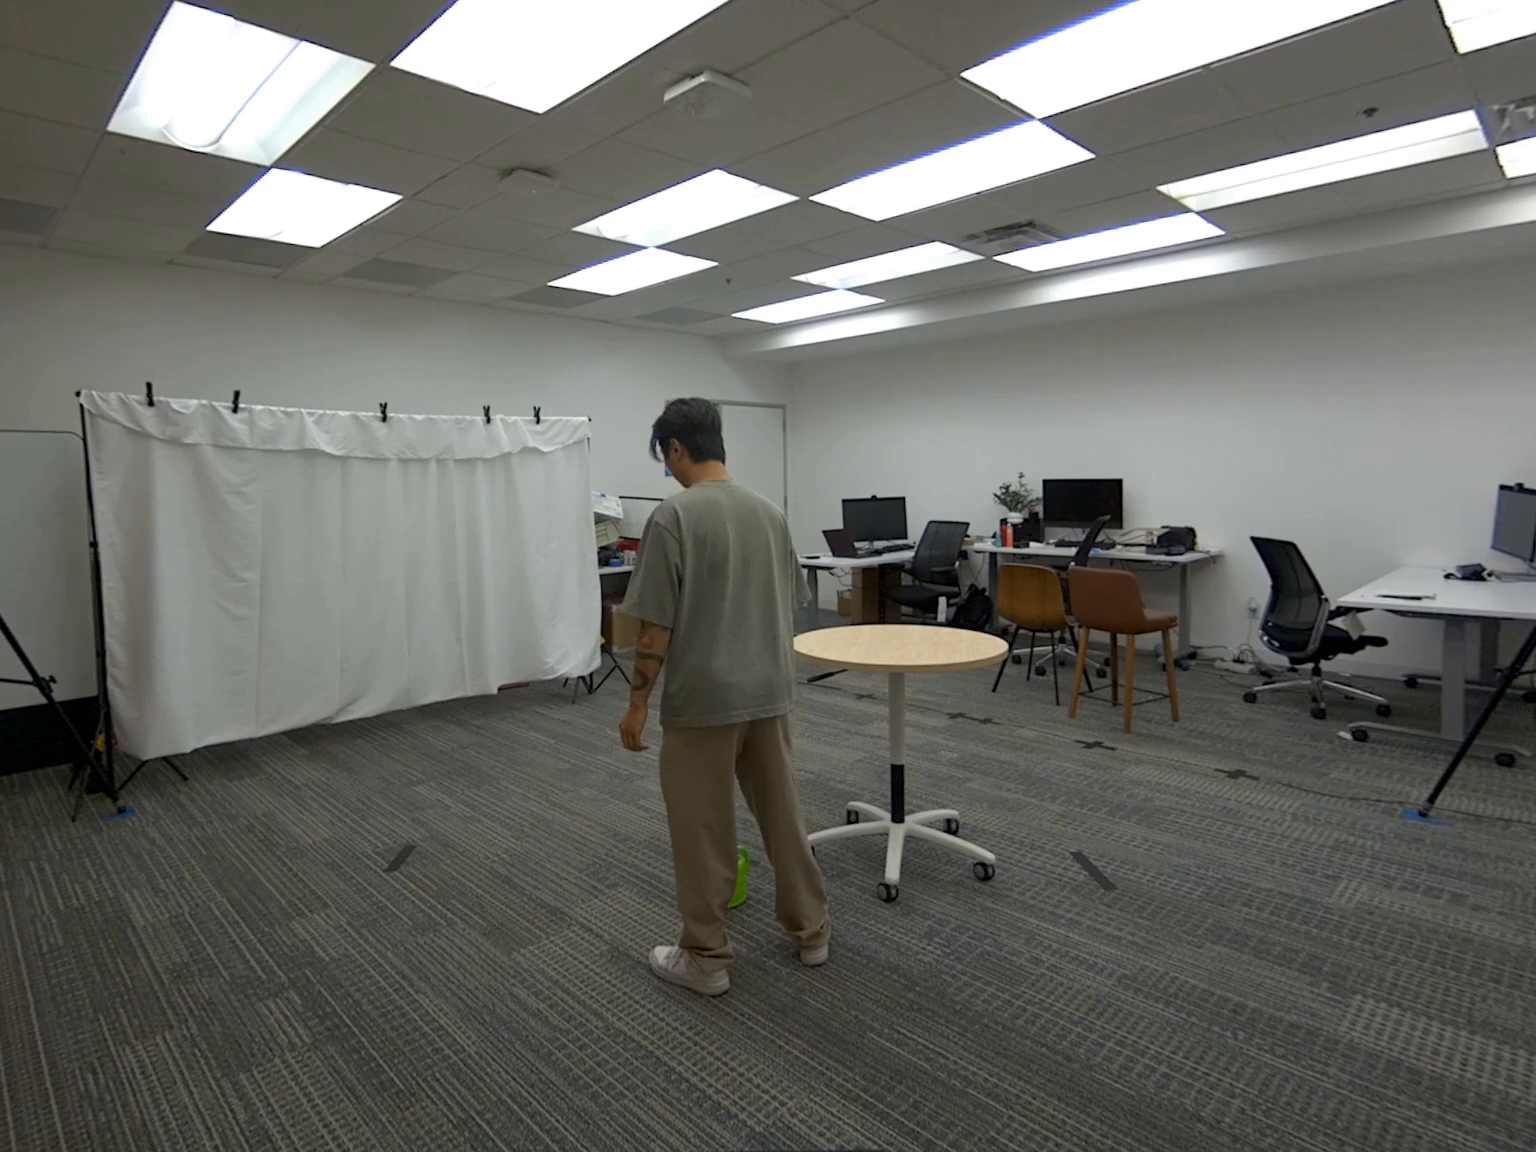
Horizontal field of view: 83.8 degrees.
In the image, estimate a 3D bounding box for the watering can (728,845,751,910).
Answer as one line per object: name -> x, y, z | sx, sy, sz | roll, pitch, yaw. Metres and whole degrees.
watering can -> -0.153, 0.986, 2.802 | 0.271, 0.176, 0.101 | -4, 4, -34
